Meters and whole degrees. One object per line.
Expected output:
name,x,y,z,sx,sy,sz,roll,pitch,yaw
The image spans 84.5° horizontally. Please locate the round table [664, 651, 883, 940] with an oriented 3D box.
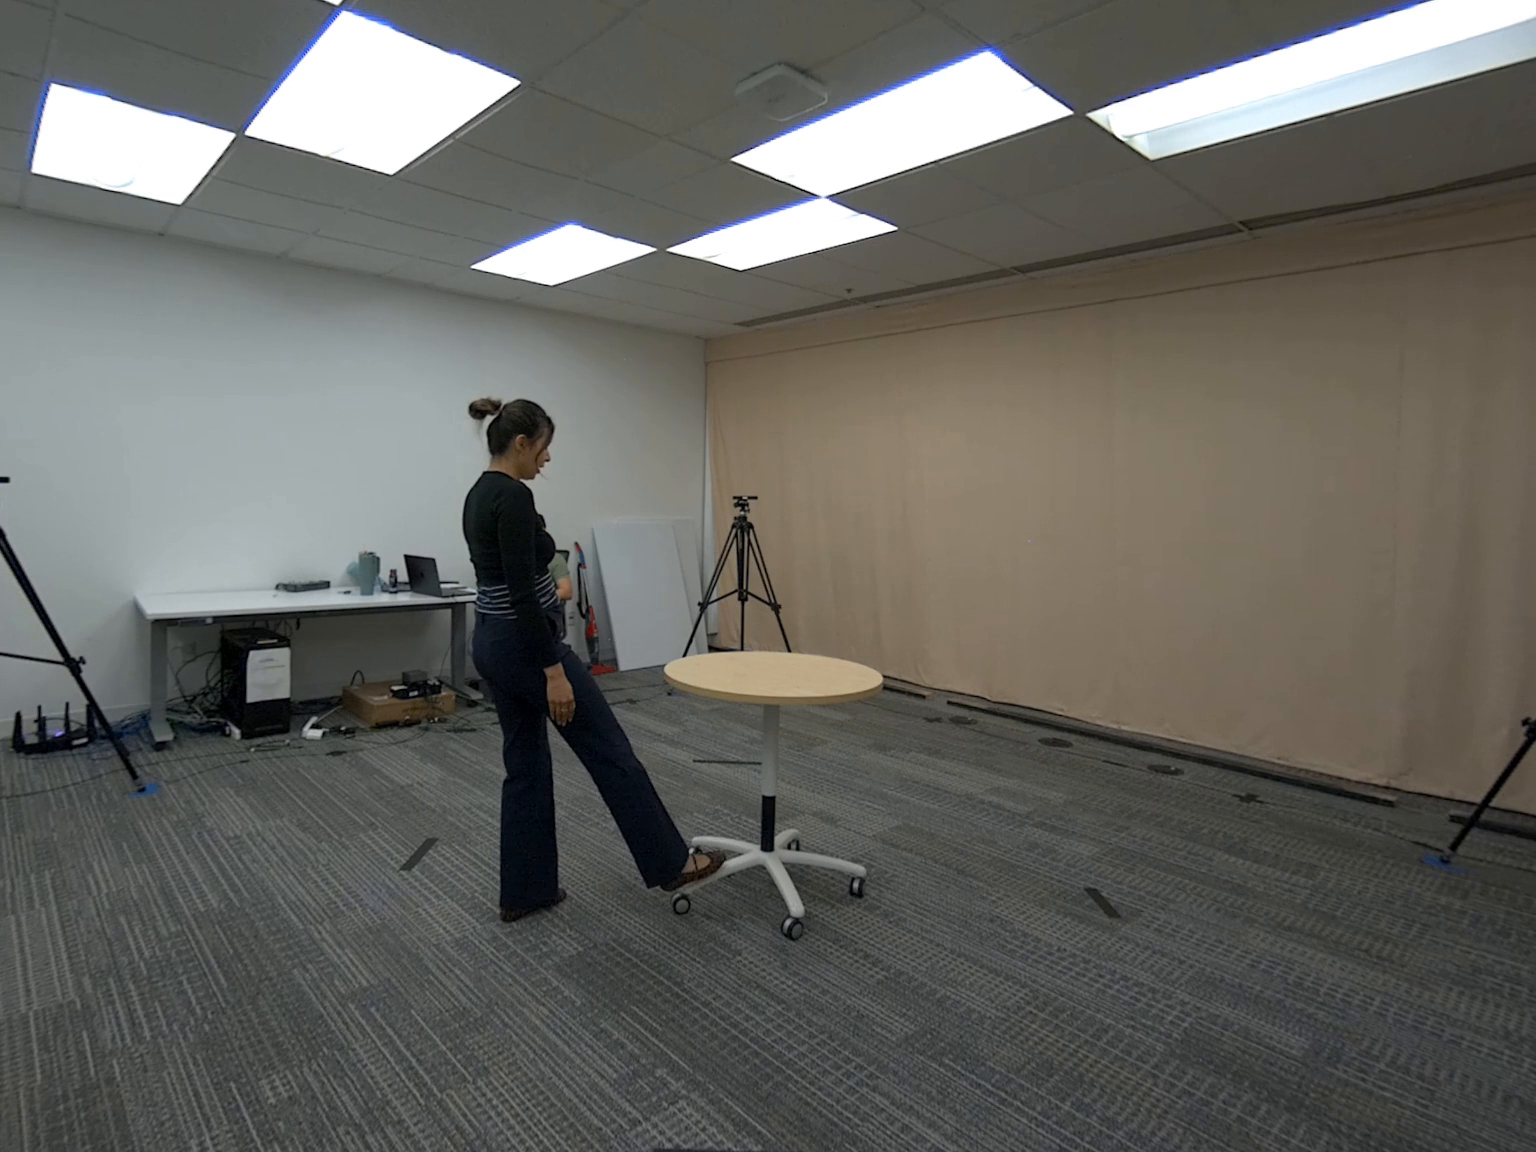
round table,-0.007,0.729,2.981,0.763,0.792,0.766,2,4,-1
